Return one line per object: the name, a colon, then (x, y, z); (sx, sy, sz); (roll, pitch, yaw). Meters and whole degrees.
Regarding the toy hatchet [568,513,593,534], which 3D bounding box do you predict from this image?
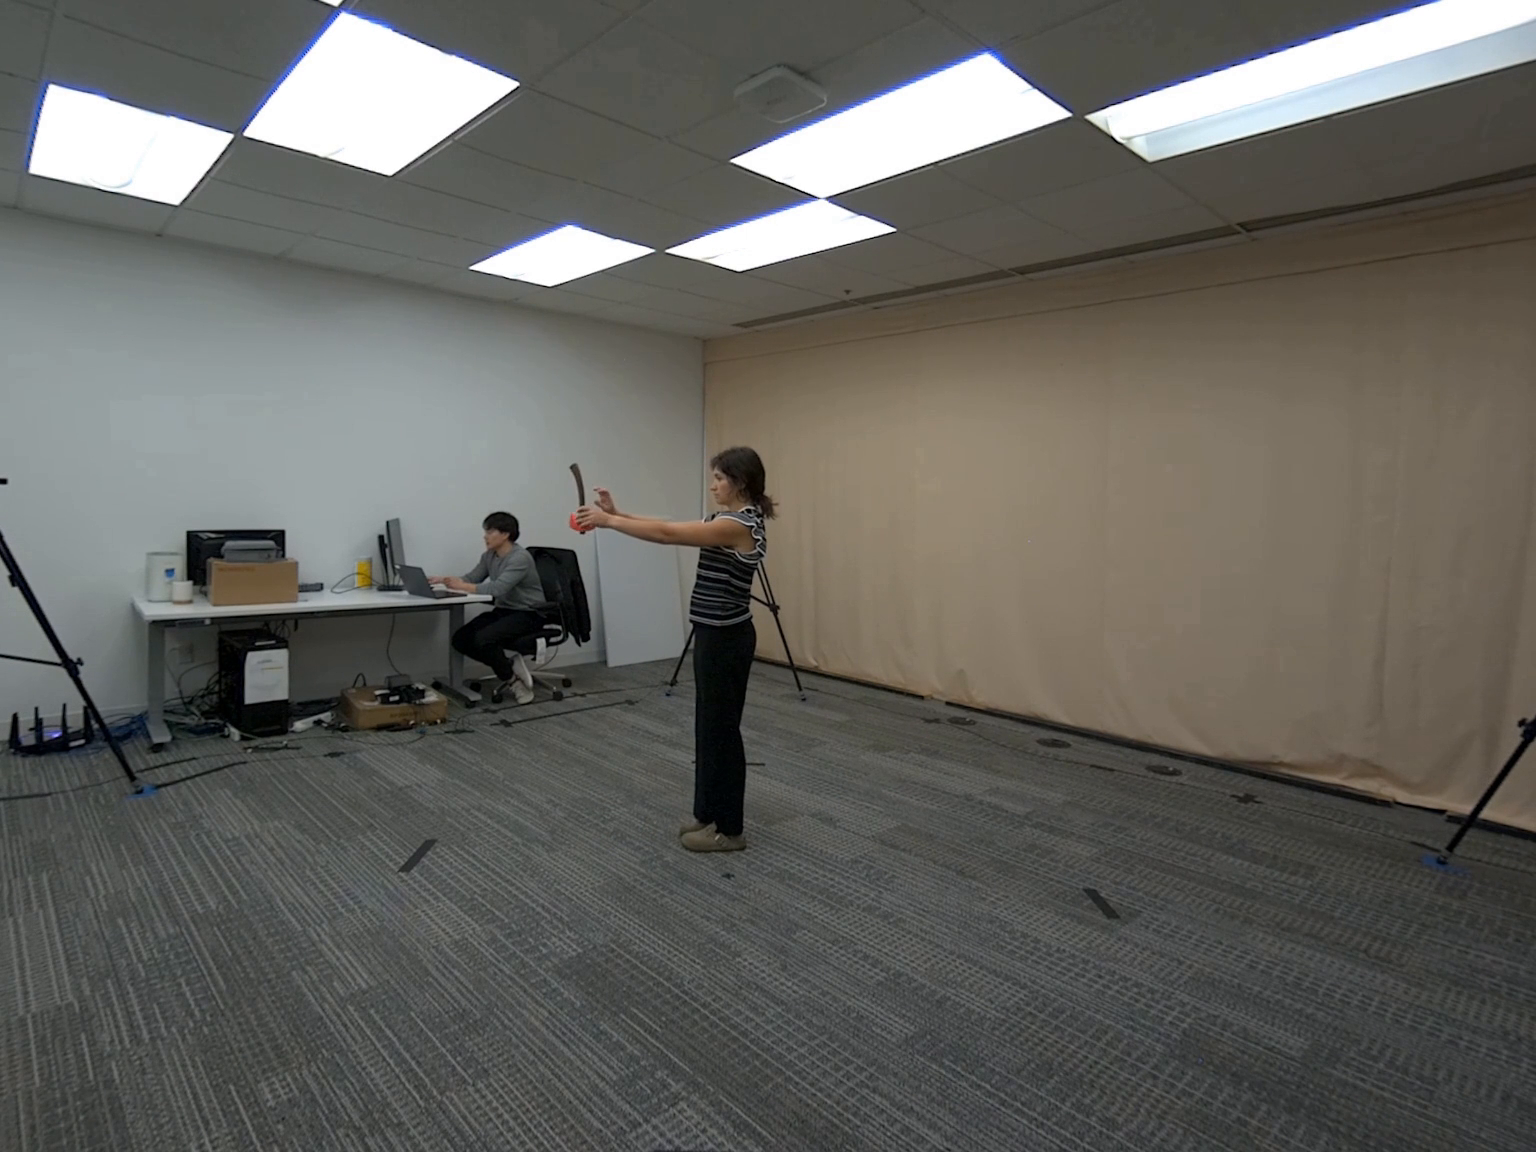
toy hatchet: (-0.747, -0.289, 3.285); (0.133, 0.269, 0.029); (-15, 3, 29)
